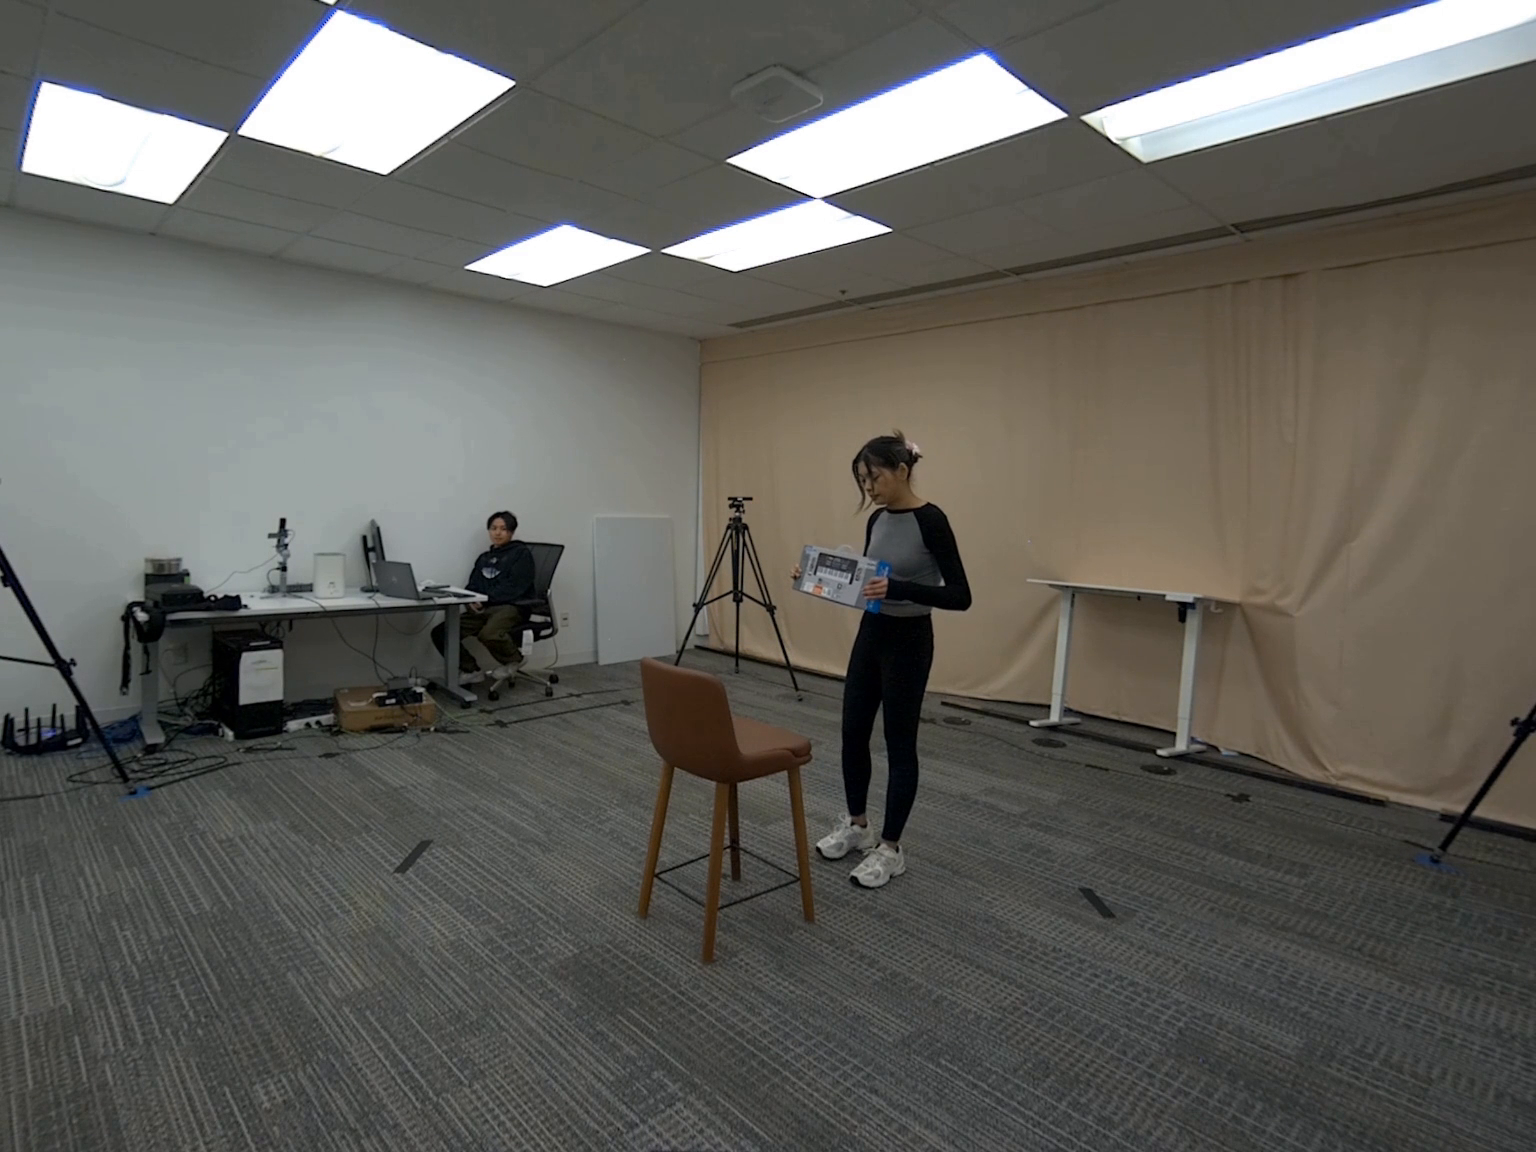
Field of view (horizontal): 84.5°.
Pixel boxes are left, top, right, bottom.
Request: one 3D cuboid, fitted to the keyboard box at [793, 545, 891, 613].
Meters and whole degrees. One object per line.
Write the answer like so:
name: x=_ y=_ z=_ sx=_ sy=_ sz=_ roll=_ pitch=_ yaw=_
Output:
keyboard box: x=0.247 y=0.008 z=2.950 sx=0.057 sy=0.176 sz=0.448 roll=17 pitch=-1 yaw=-33
